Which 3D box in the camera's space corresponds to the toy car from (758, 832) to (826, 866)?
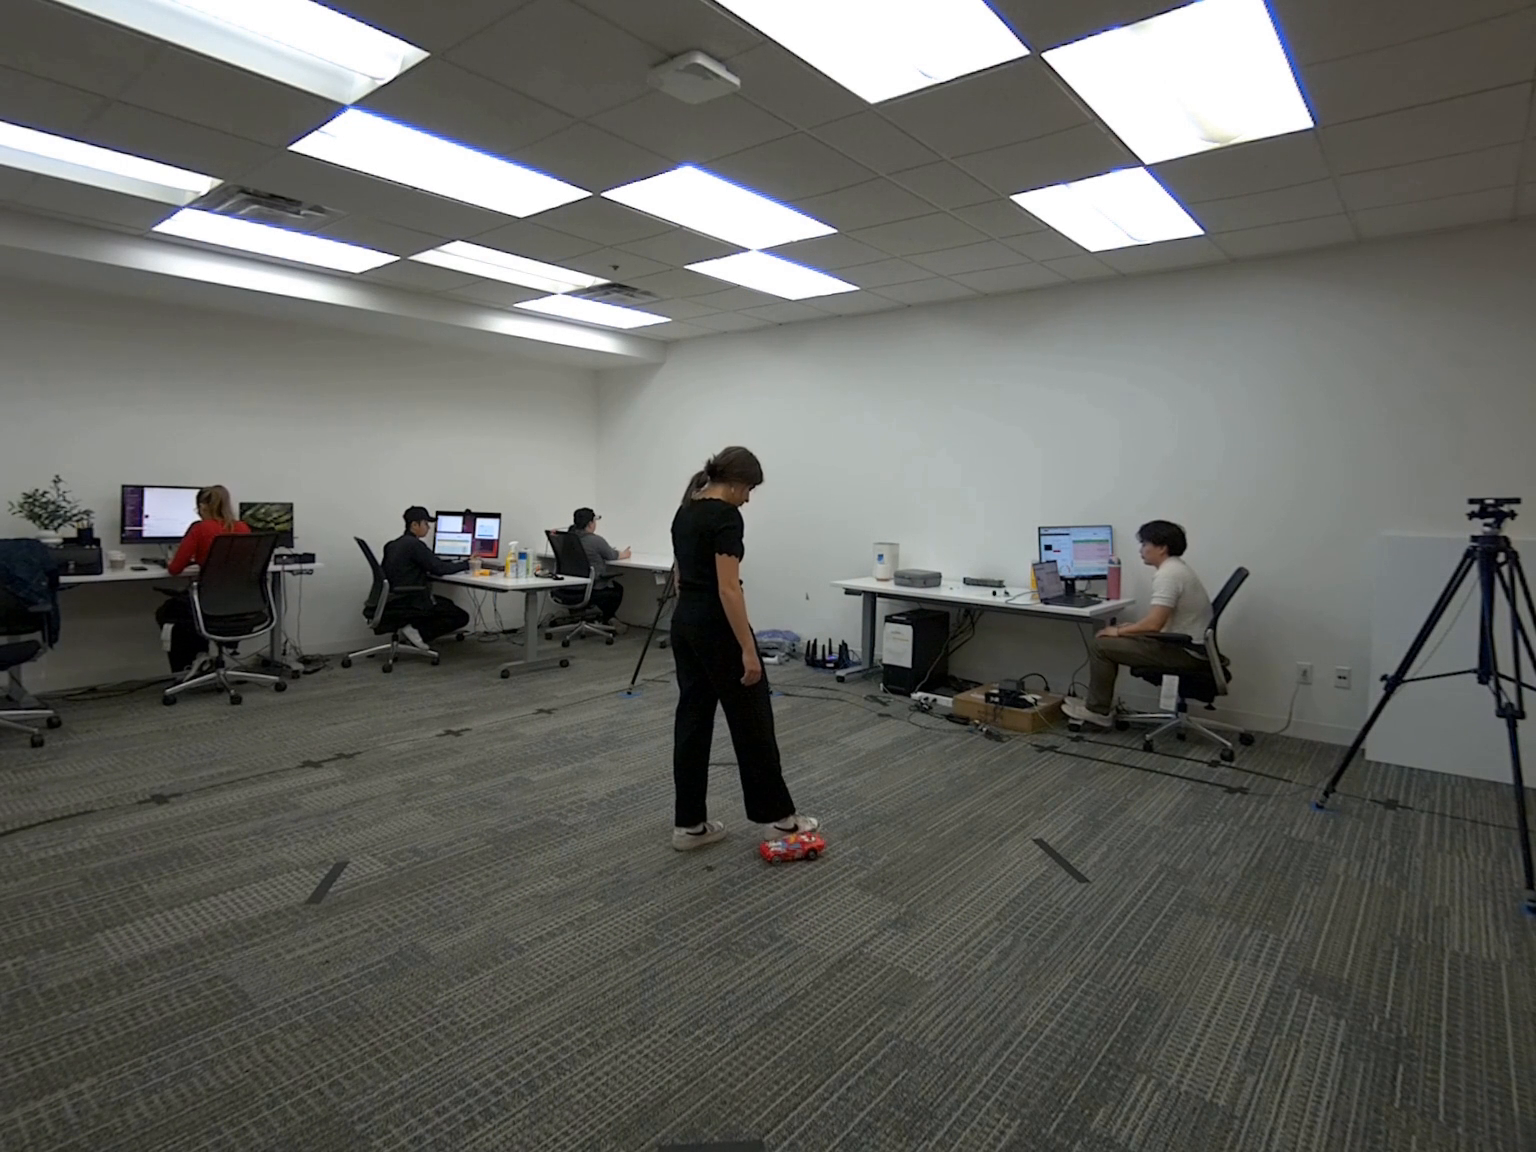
[{"bbox_3d":[0.095,1.028,3.219,0.251,0.082,0.134,-13,11,-19],"label":"toy car"}]
